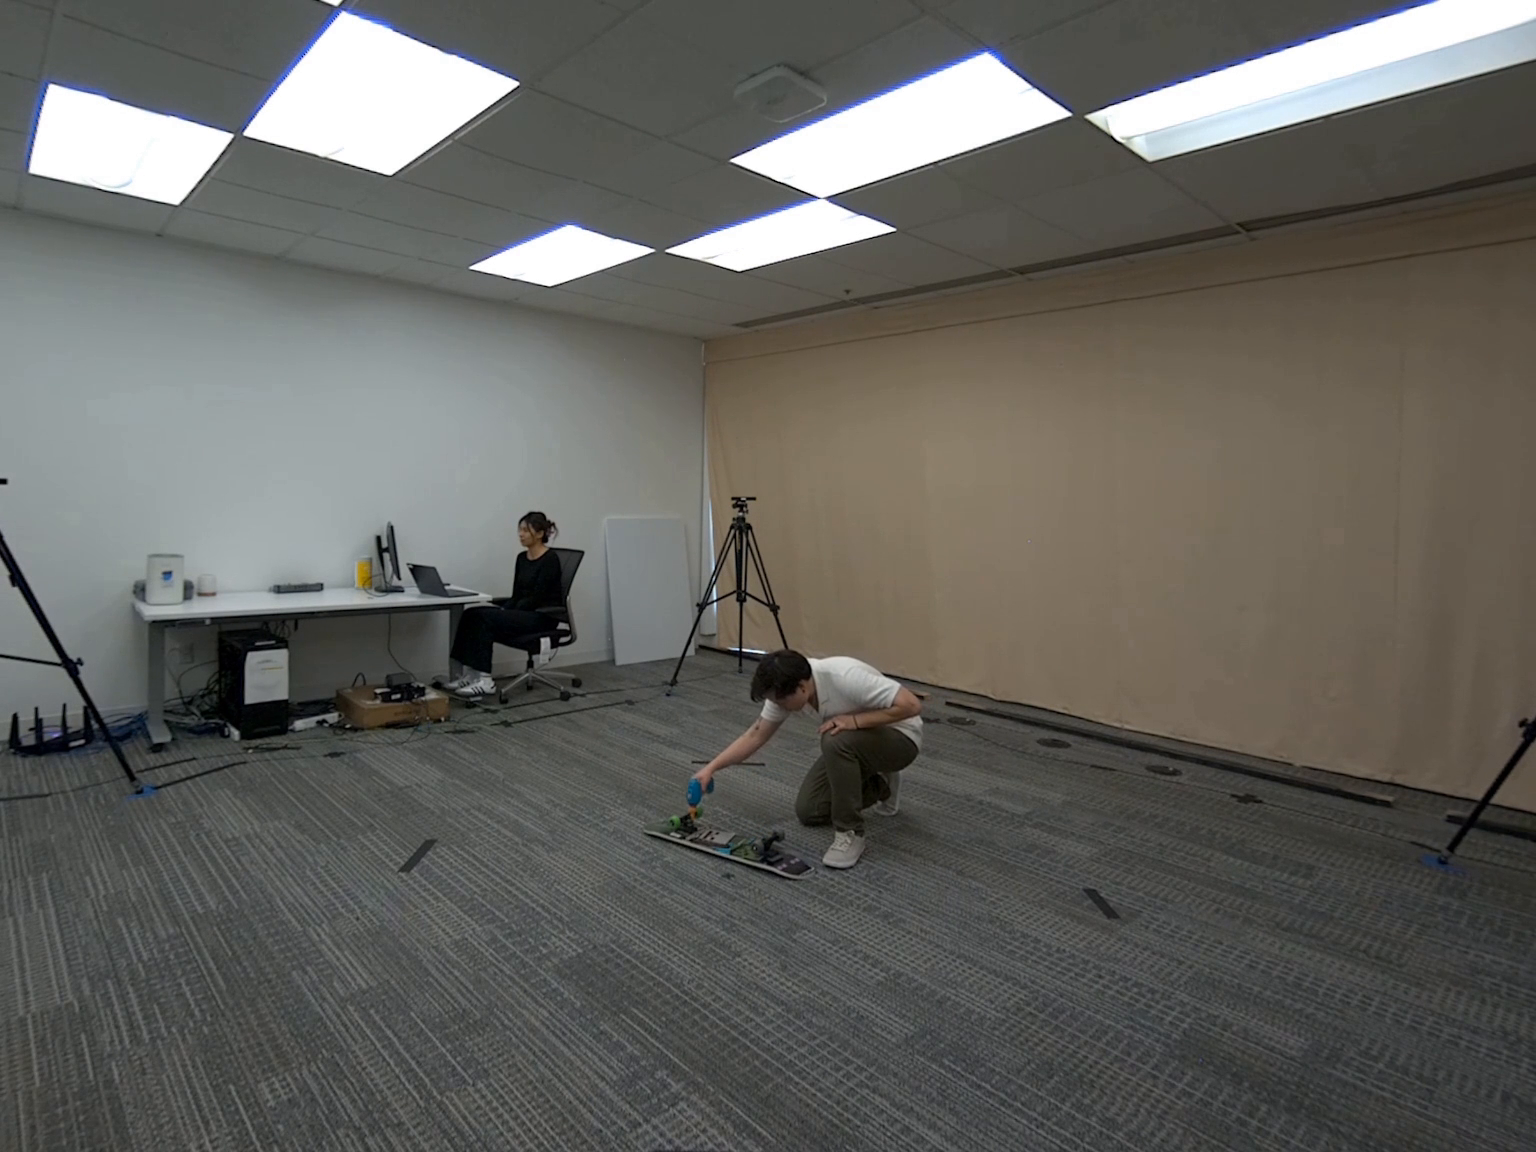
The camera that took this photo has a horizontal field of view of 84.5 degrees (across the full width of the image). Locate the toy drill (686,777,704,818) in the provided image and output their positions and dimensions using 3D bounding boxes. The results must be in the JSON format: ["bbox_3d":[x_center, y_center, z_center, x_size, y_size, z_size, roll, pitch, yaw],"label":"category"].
[{"bbox_3d":[-0.292,0.909,3.468,0.062,0.170,0.143,-1,-2,30],"label":"toy drill"}]
